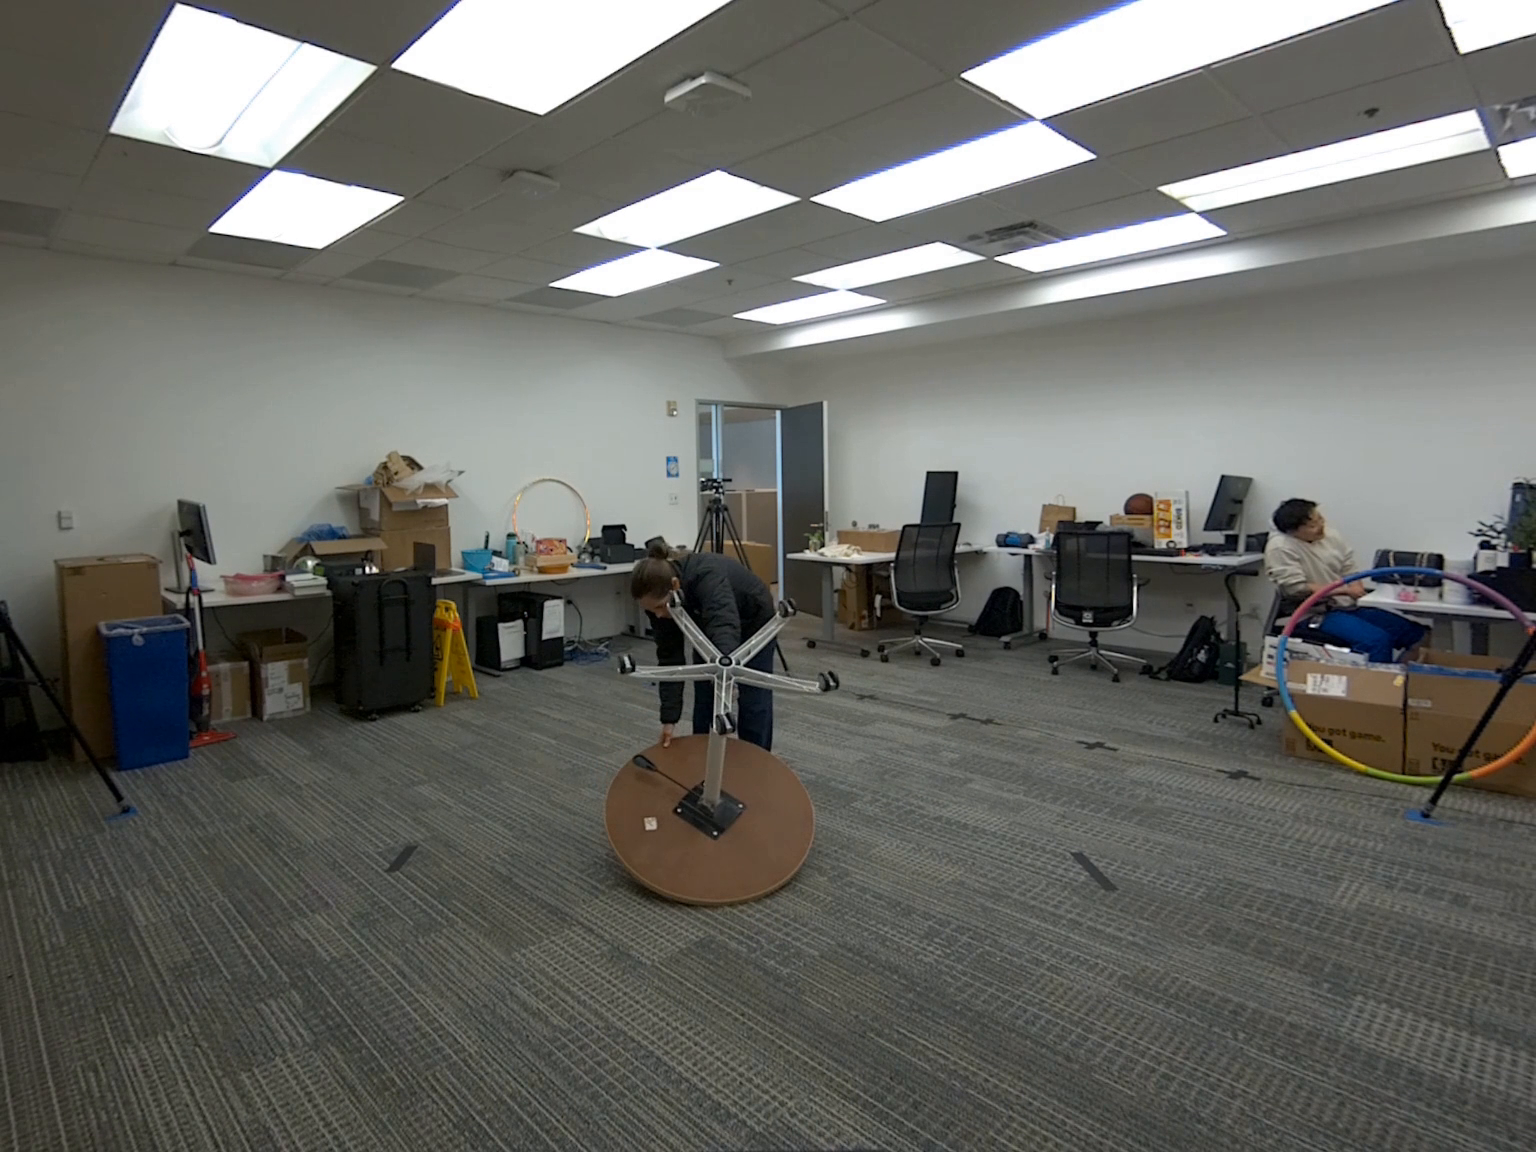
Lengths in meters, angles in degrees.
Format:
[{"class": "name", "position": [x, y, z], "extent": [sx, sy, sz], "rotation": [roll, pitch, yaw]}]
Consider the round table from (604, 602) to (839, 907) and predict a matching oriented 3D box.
[{"class": "round table", "position": [-0.171, 0.533, 2.944], "extent": [0.782, 0.771, 0.804], "rotation": [5, 31, -5]}]
